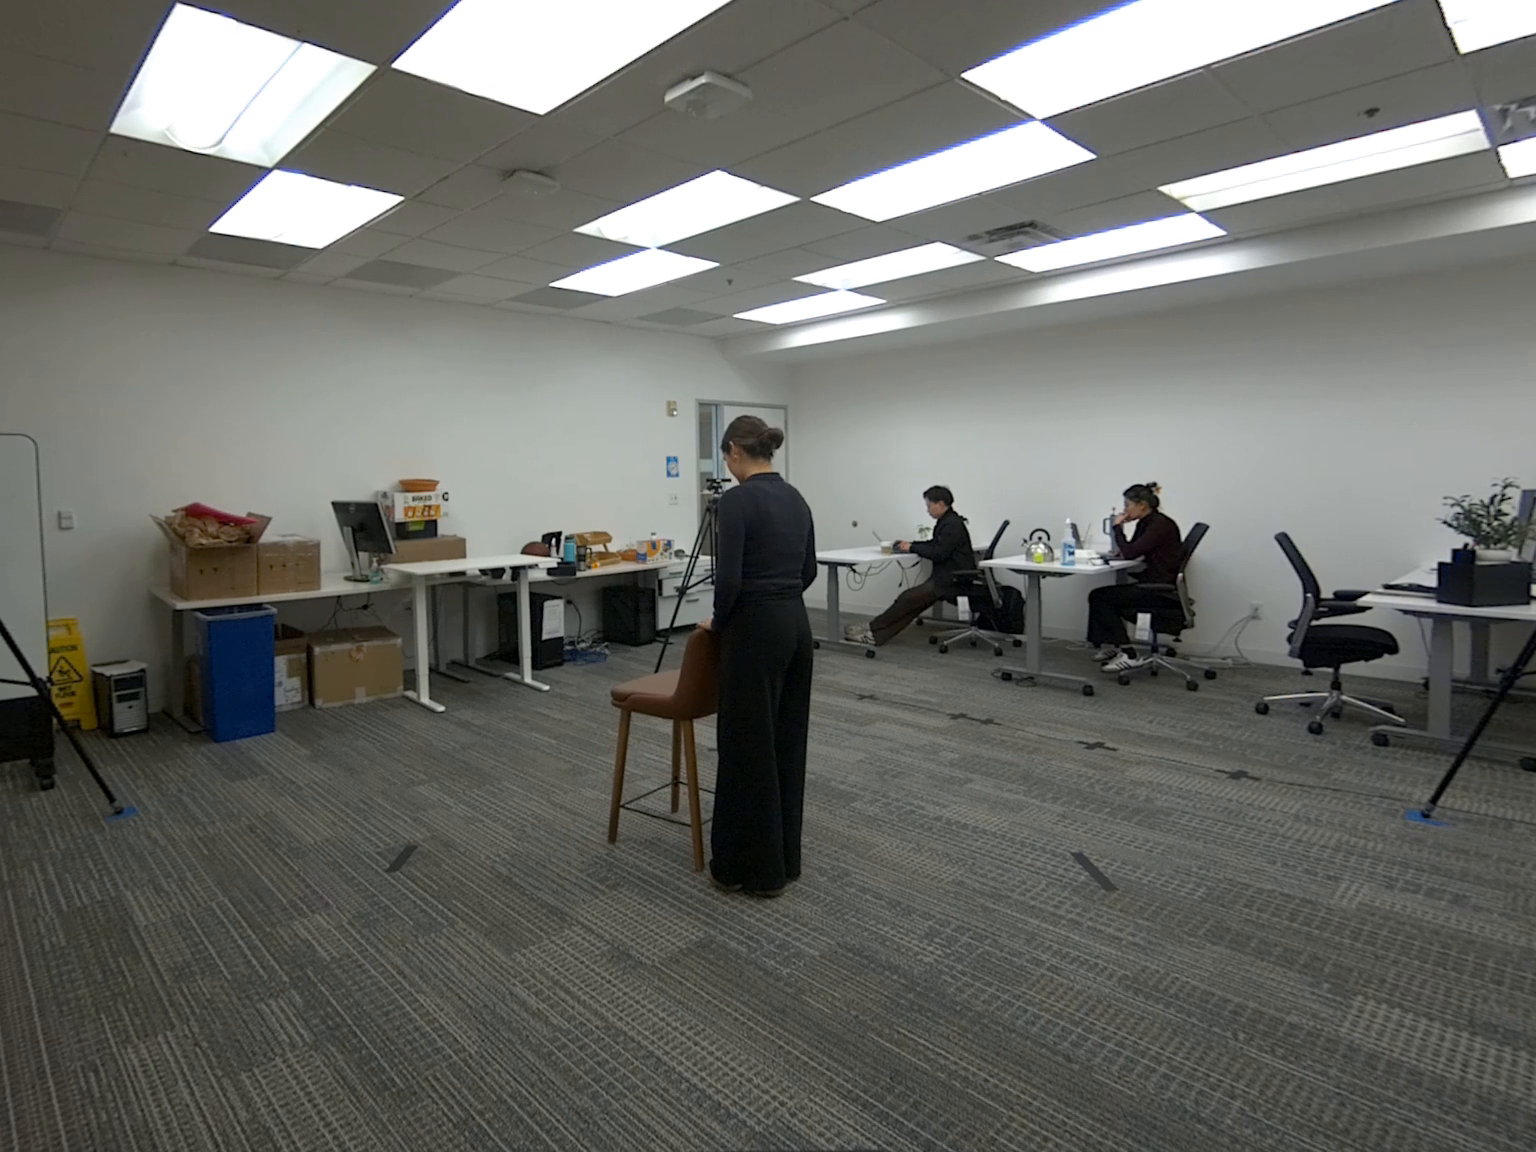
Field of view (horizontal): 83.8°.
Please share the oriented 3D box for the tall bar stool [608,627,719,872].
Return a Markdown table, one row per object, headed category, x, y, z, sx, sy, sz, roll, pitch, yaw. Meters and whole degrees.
| category | x | y | z | sx | sy | sz | roll | pitch | yaw |
| --- | --- | --- | --- | --- | --- | --- | --- | --- | --- |
| tall bar stool | -0.319 | 0.590 | 3.295 | 0.482 | 0.886 | 0.445 | 5 | 6 | 36 |
